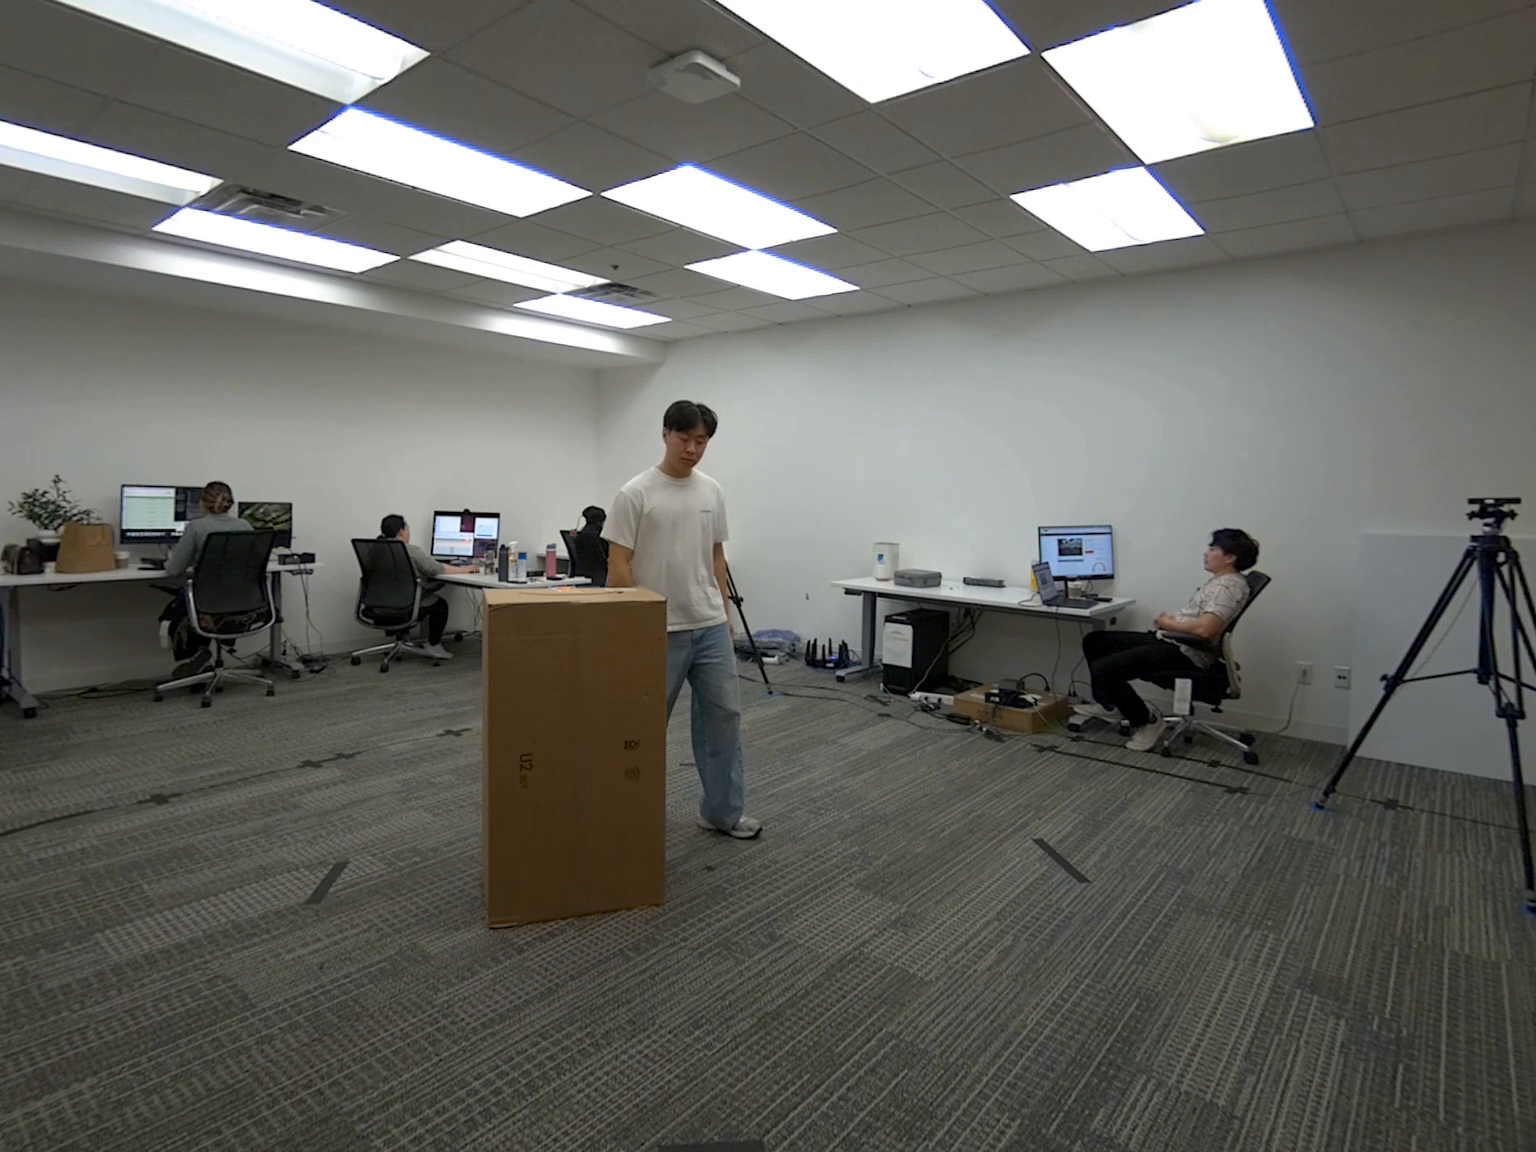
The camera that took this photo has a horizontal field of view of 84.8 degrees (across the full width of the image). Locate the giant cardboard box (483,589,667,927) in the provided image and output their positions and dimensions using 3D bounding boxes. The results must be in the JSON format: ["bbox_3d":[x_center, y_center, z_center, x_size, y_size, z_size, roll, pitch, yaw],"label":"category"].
[{"bbox_3d":[-0.690,0.568,2.911,0.566,1.023,0.436,-1,4,-20],"label":"giant cardboard box"}]
